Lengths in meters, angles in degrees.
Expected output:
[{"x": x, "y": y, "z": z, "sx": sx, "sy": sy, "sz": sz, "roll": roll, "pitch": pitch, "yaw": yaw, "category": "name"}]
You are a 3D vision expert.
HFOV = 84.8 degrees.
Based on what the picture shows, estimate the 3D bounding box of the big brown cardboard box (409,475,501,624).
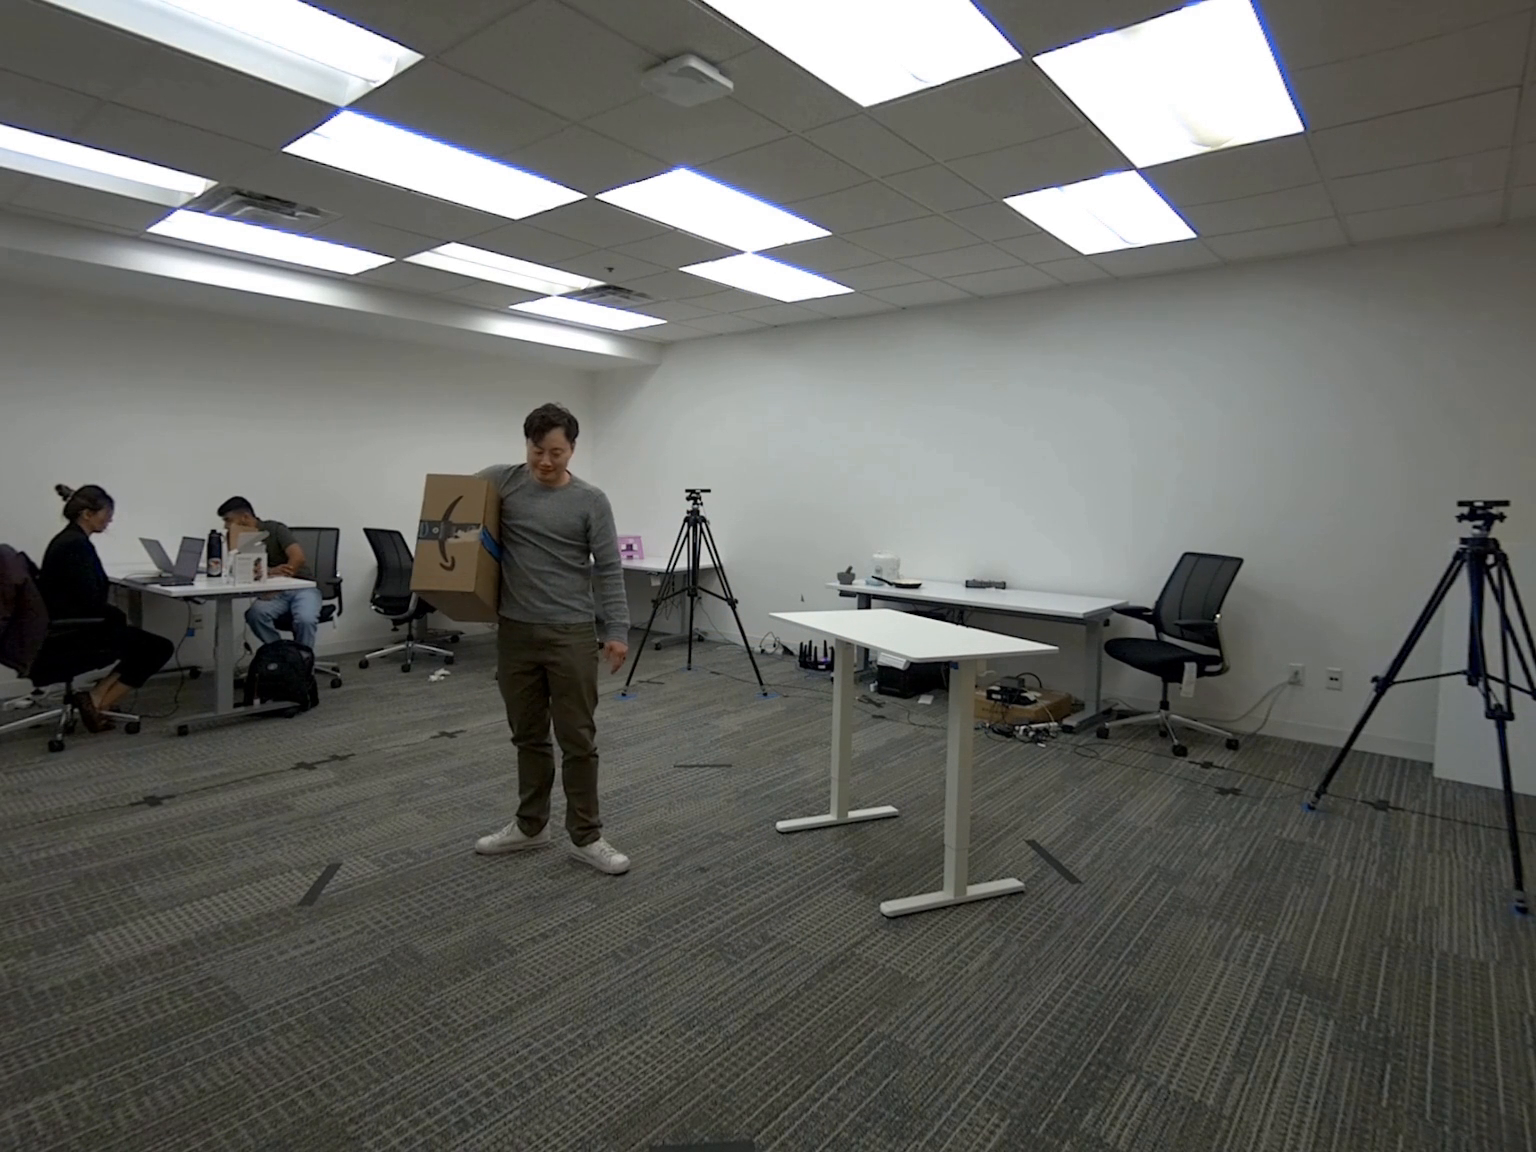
[{"x": -1.101, "y": -0.079, "z": 3.141, "sx": 0.233, "sy": 0.423, "sz": 0.582, "roll": 1, "pitch": -14, "yaw": -3, "category": "big brown cardboard box"}]
